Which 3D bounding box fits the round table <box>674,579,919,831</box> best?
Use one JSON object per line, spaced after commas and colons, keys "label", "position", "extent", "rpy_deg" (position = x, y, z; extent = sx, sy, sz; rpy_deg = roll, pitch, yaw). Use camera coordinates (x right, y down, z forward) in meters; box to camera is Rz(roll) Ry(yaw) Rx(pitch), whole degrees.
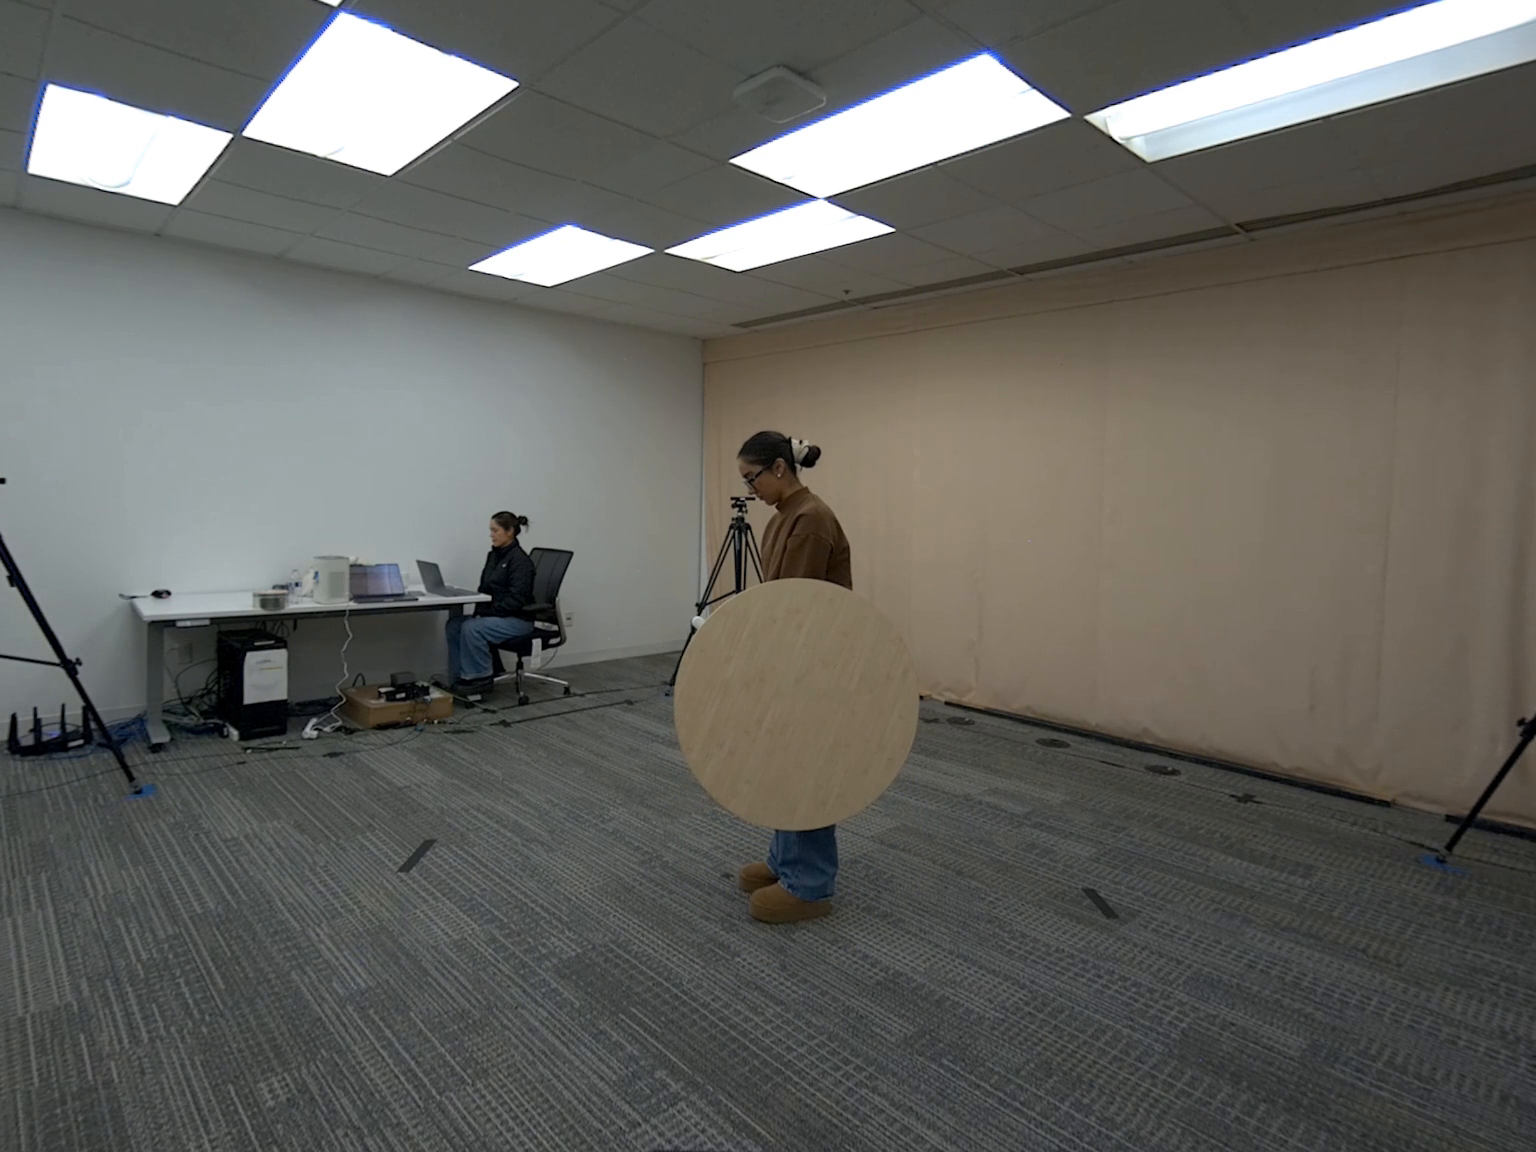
{"label": "round table", "position": [0.023, 0.400, 2.974], "extent": [0.758, 0.765, 0.798], "rpy_deg": [1, -2, -9]}
